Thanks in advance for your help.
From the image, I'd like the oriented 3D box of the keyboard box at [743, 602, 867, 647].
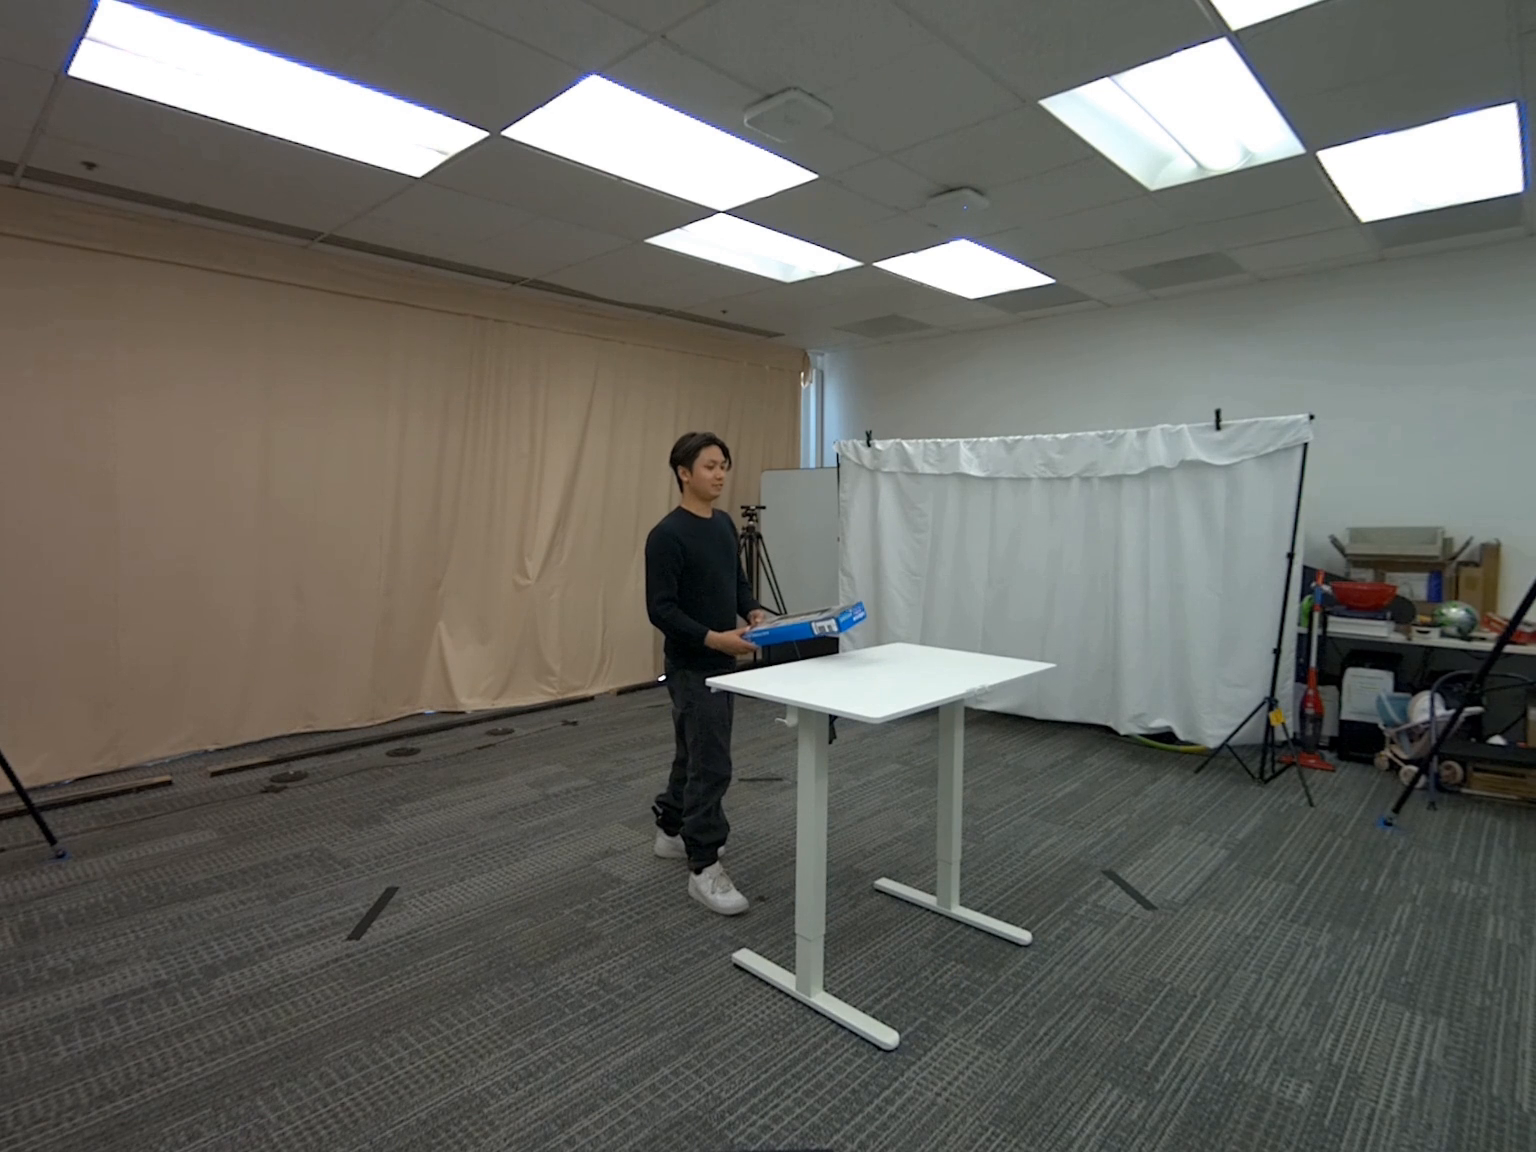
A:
[{"bbox_3d":[0.109,0.173,2.883,0.448,0.059,0.172,-13,7,39],"label":"keyboard box"}]
